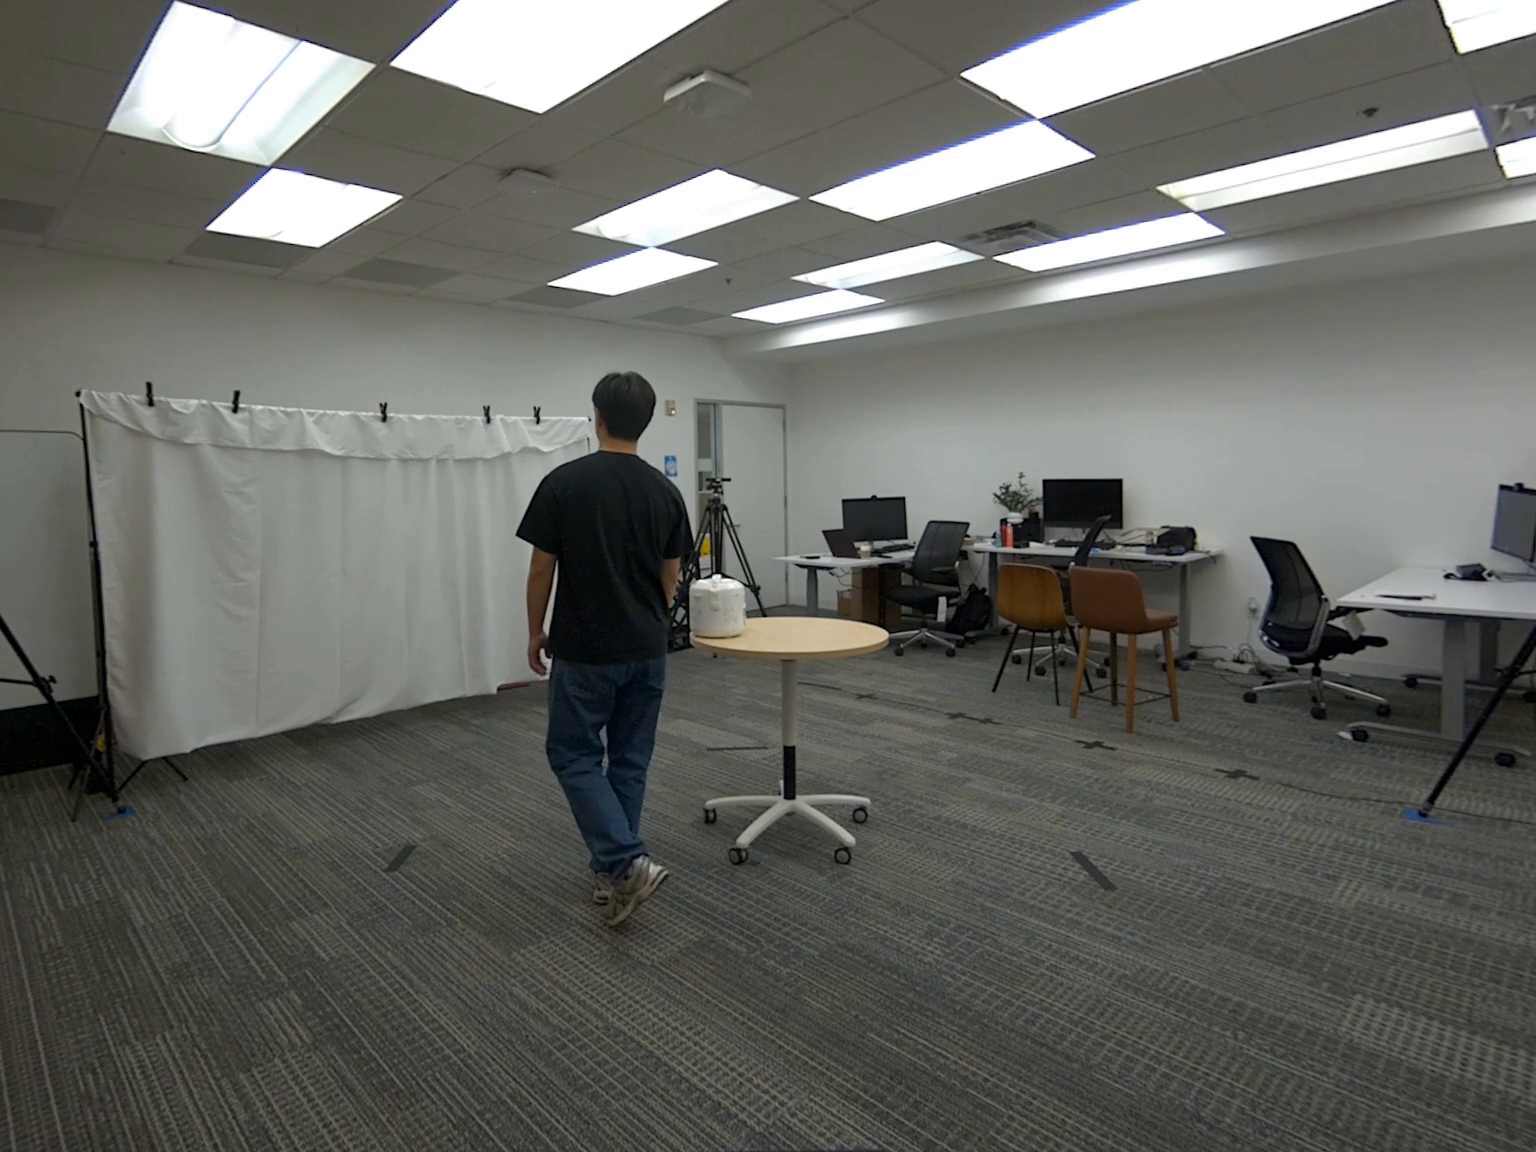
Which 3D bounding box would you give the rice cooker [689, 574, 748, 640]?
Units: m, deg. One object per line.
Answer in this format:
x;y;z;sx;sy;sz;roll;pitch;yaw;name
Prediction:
-0.191;0.108;3.283;0.218;0.232;0.220;-2;5;3;rice cooker
